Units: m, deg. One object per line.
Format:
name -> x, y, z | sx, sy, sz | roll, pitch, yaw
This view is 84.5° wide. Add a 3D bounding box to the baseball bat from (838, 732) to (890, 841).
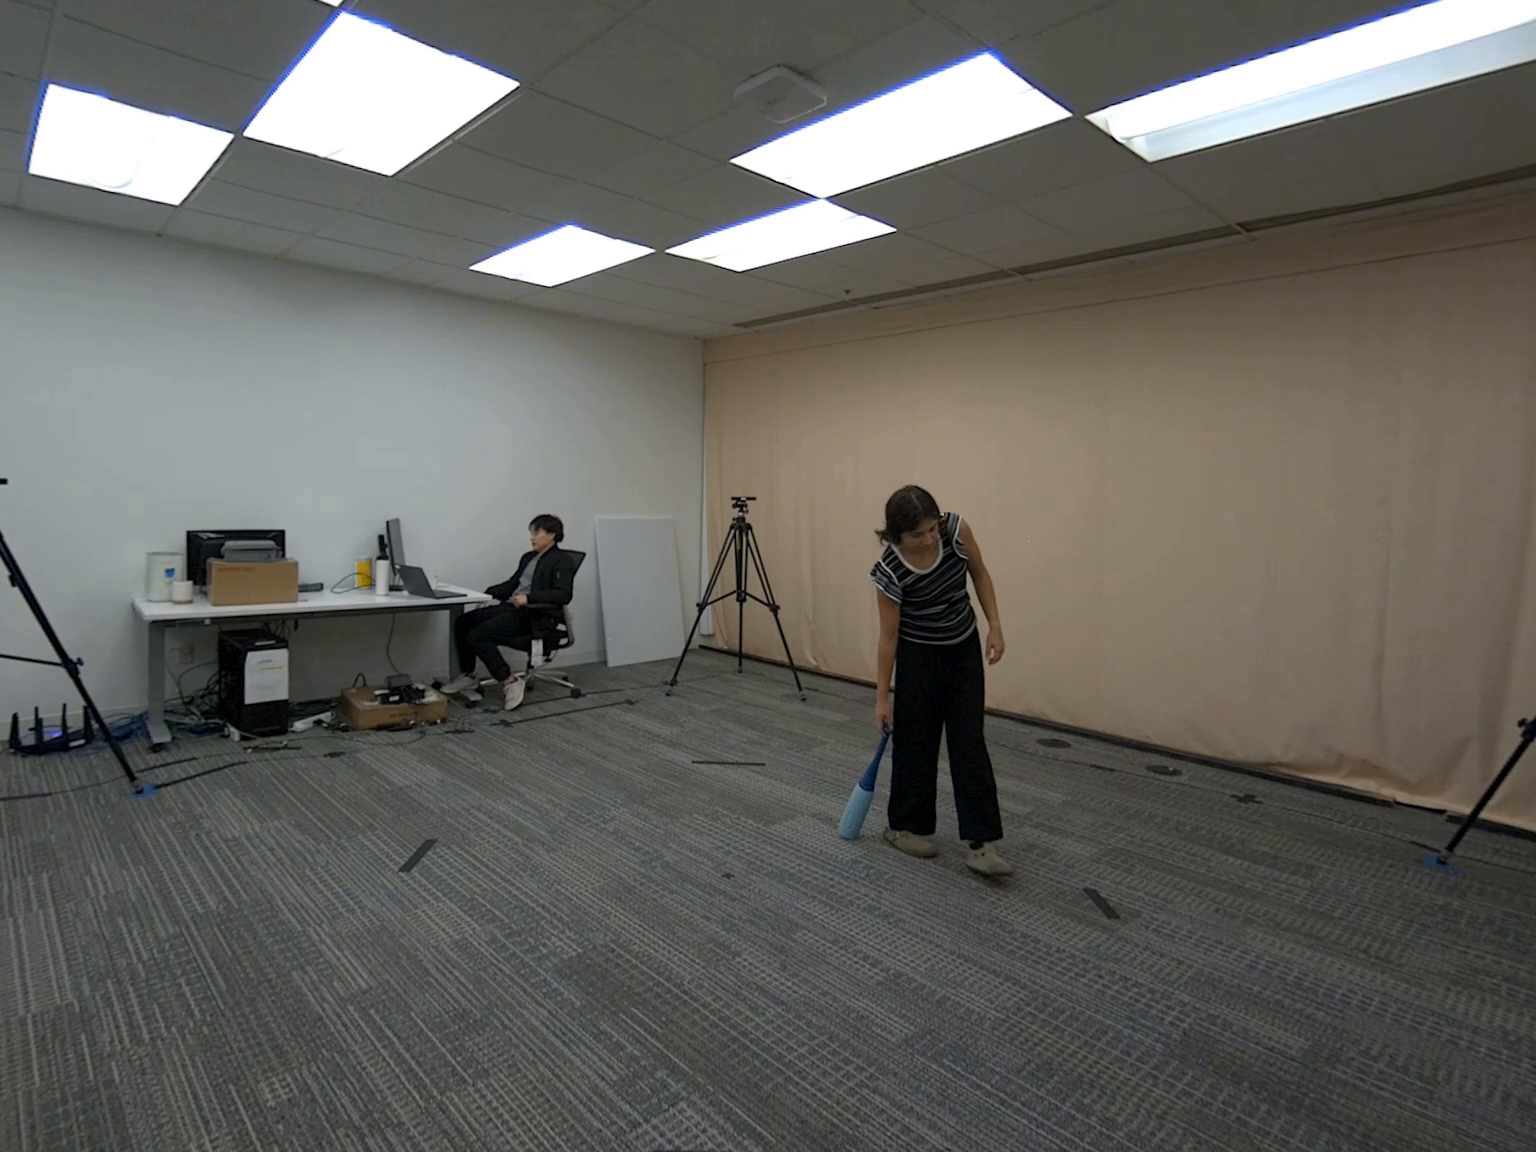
baseball bat -> 0.397, 0.834, 3.402 | 0.088, 0.538, 0.090 | 14, 22, -7
